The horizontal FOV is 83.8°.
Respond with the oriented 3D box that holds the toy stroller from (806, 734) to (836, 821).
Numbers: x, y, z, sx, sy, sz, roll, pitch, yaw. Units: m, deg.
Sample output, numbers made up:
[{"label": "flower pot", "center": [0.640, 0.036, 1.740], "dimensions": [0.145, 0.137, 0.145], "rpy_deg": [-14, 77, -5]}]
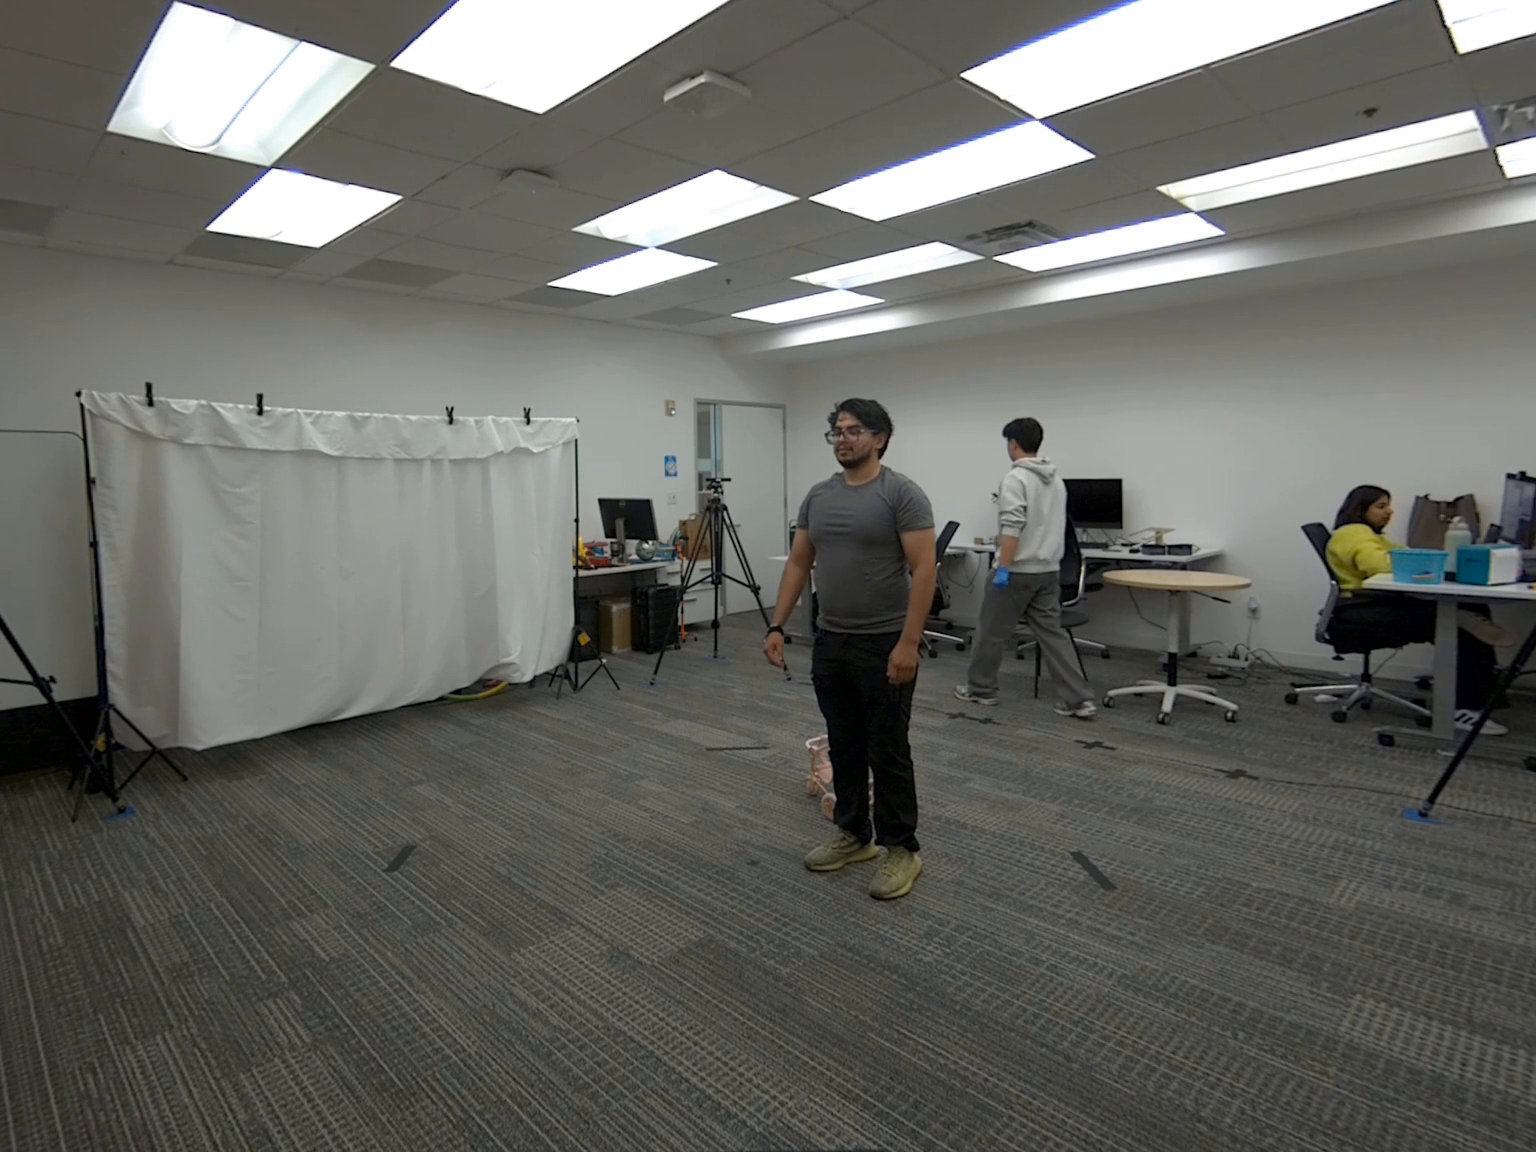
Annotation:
[{"label": "toy stroller", "center": [0.325, 0.759, 3.596], "dimensions": [0.274, 0.528, 0.354], "rpy_deg": [-3, 22, -34]}]
